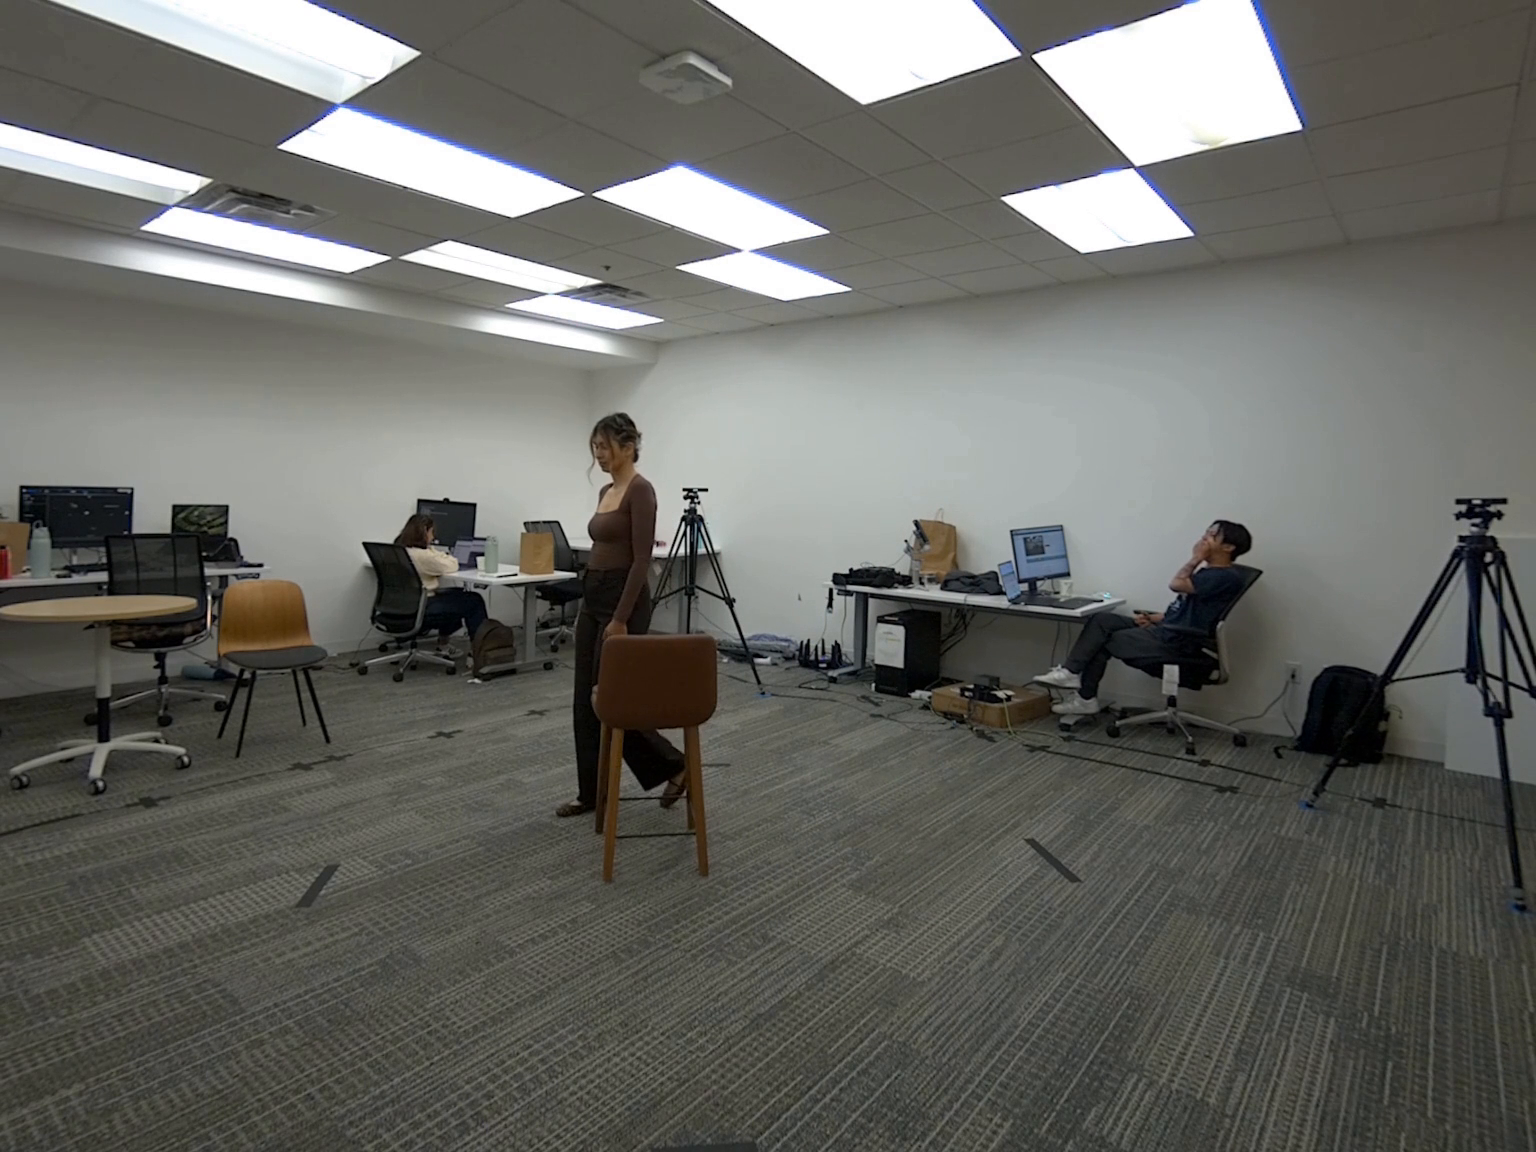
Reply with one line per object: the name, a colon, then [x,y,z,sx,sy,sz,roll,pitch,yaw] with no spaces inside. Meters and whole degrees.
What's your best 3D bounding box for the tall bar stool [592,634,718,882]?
tall bar stool: [-0.449,0.619,3.224,0.451,0.887,0.475,1,4,-13]
